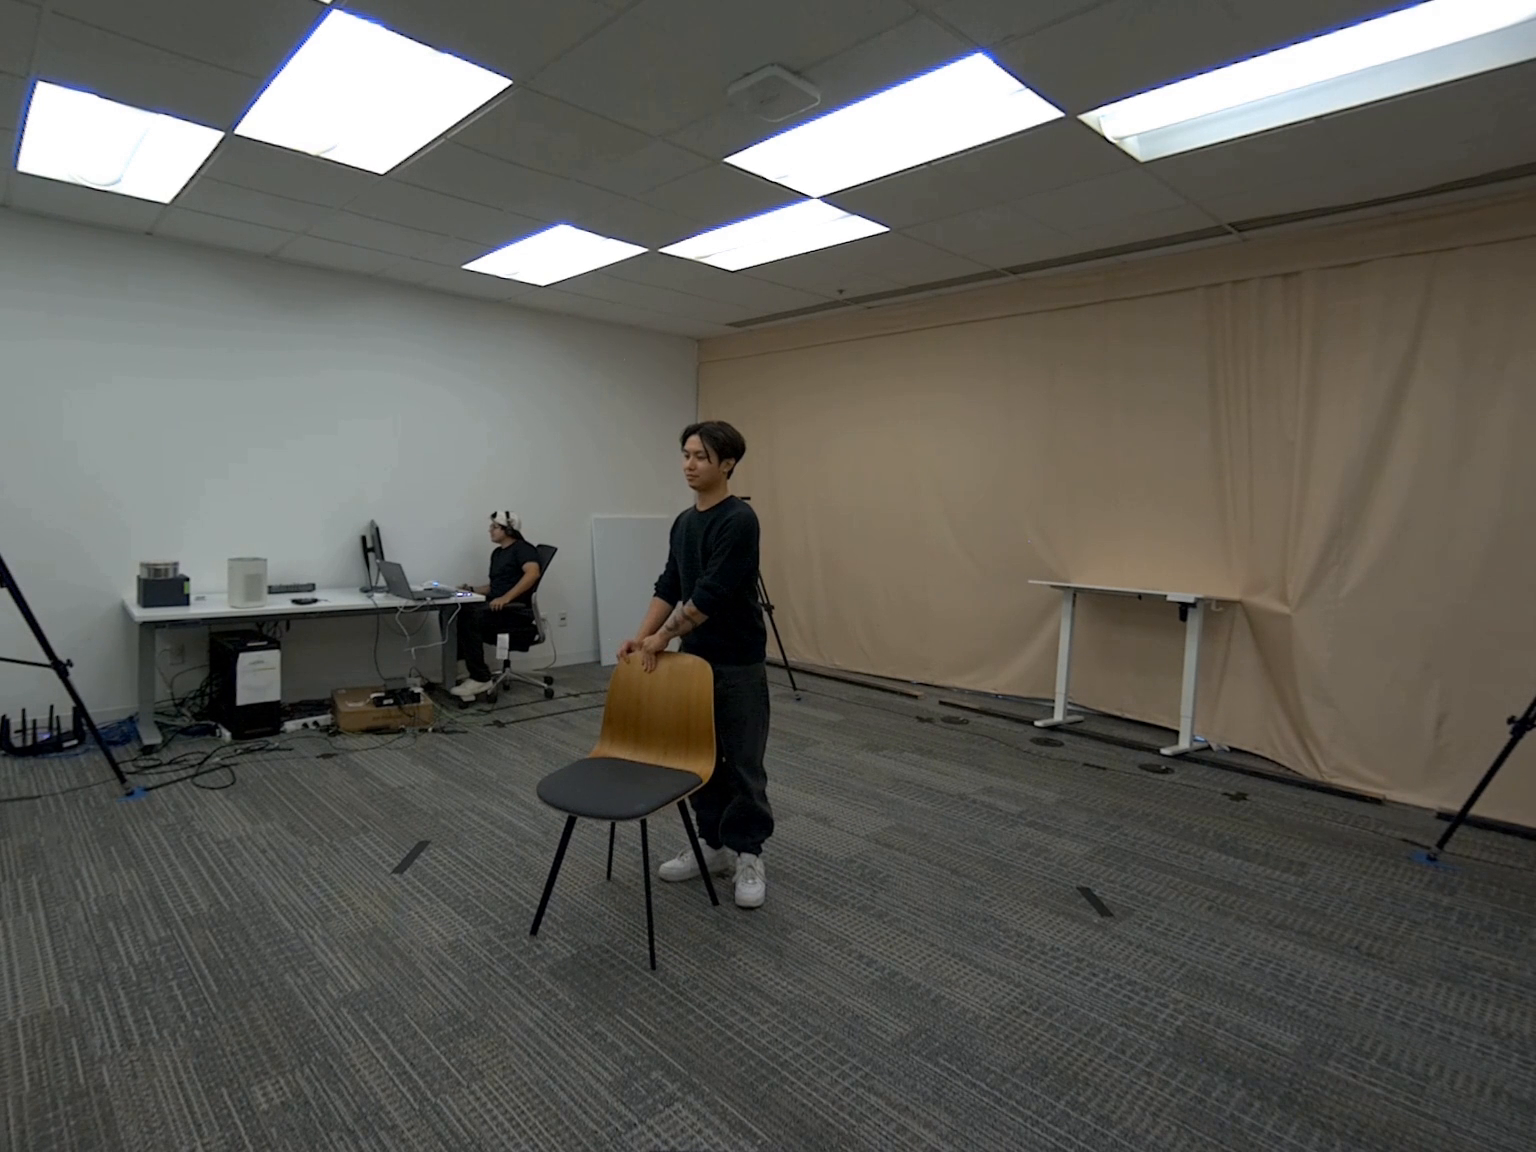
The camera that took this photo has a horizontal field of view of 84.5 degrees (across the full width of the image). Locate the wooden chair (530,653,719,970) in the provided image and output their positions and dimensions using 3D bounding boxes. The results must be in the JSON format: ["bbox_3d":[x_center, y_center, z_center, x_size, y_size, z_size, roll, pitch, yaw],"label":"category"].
[{"bbox_3d":[-0.449,0.708,2.721,0.487,0.877,0.513,3,0,23],"label":"wooden chair"}]
